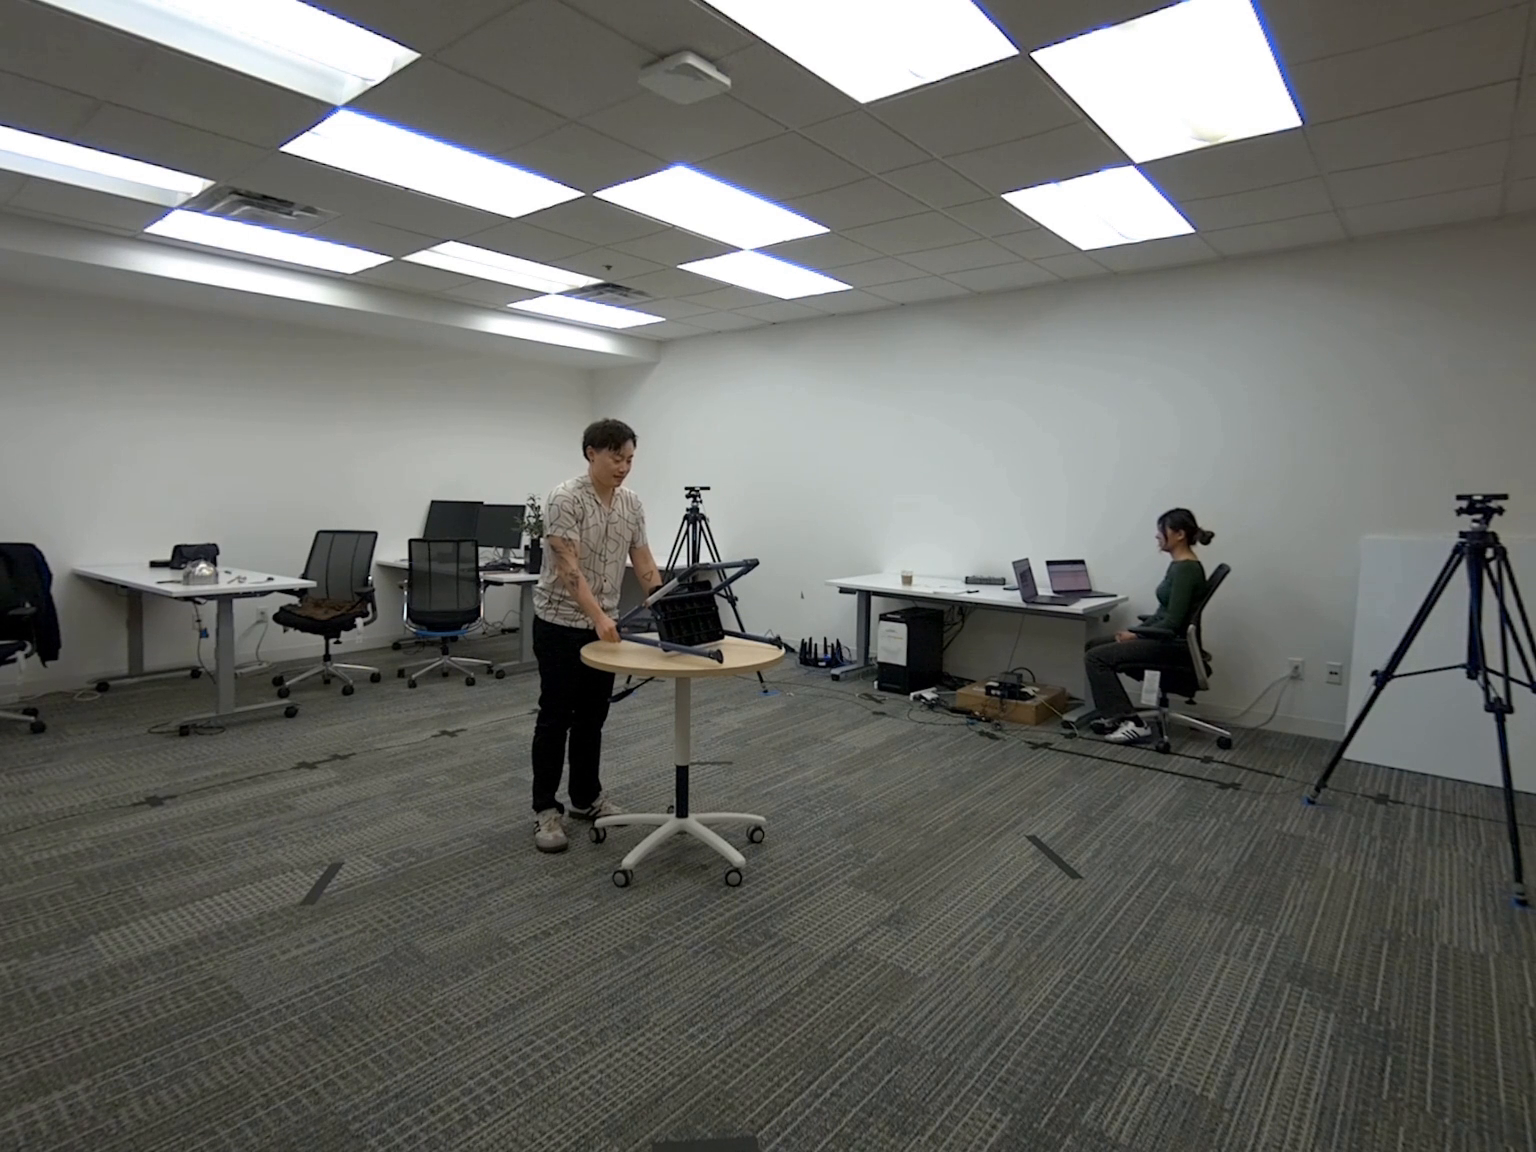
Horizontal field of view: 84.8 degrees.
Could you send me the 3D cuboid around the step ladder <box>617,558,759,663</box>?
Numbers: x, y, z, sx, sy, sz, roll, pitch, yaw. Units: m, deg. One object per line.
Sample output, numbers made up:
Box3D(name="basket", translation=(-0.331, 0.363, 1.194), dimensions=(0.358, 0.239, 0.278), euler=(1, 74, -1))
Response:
Box3D(name="step ladder", translation=(-0.353, 0.185, 3.213), dimensions=(0.618, 0.353, 0.418), euler=(-18, -7, 32))
